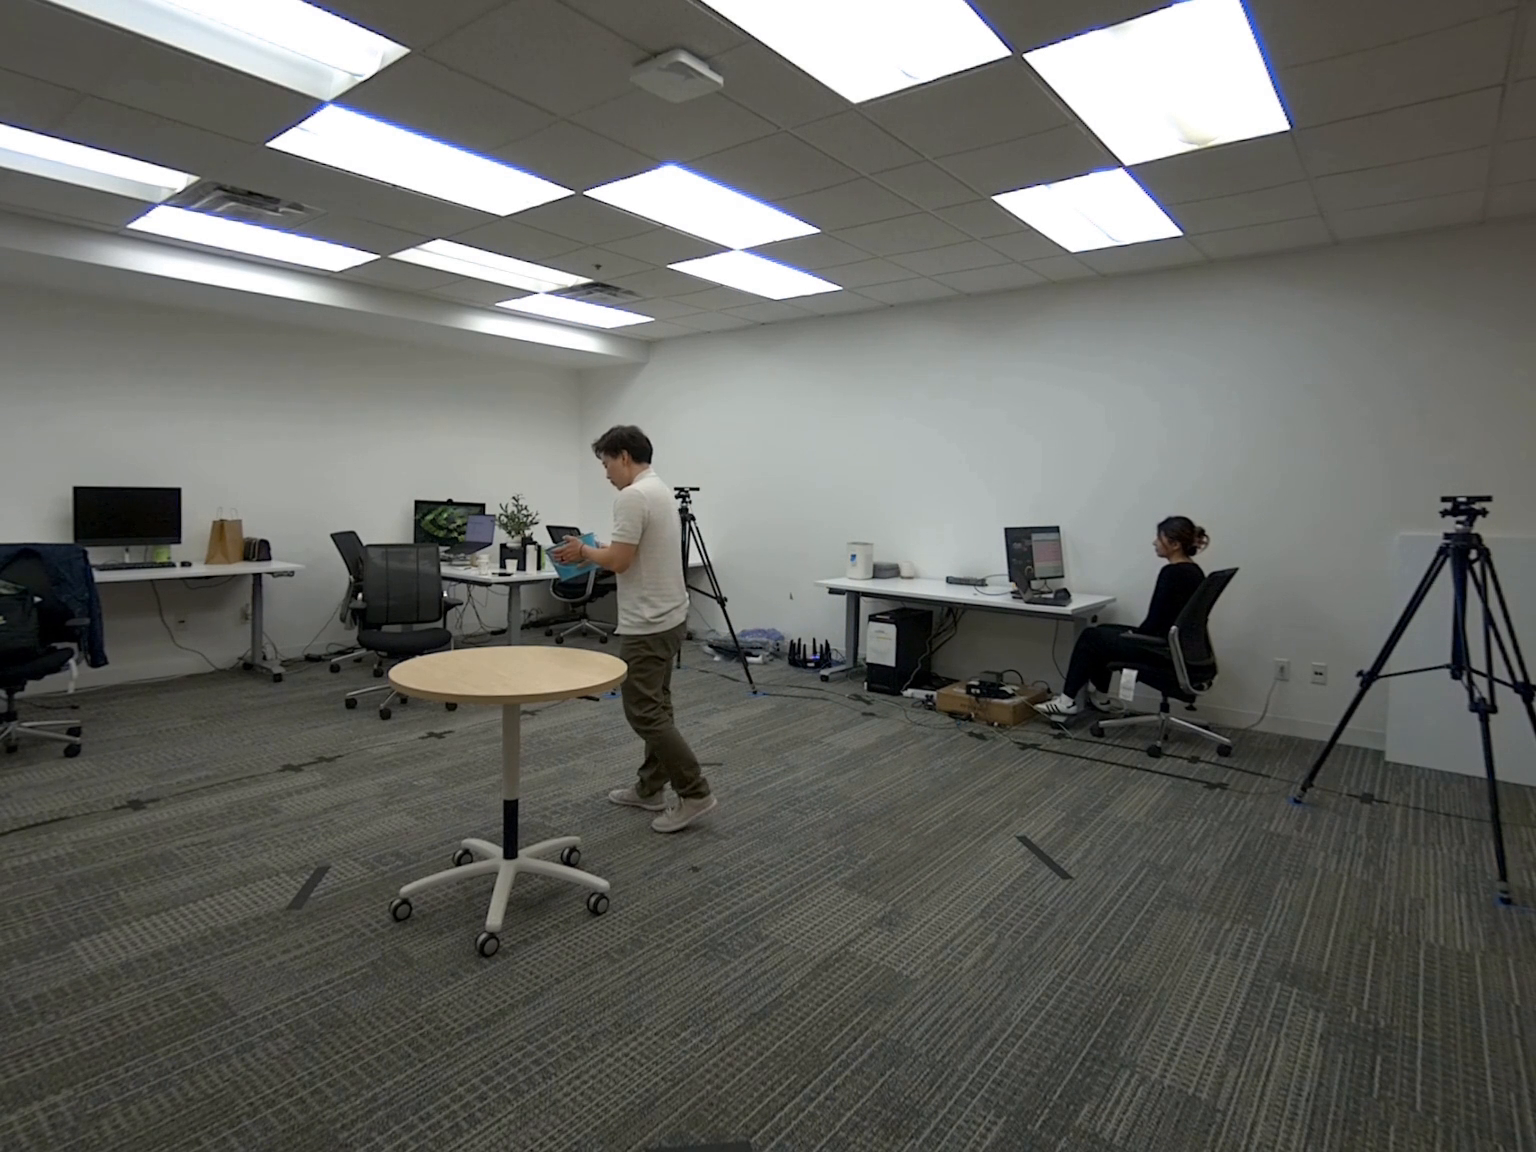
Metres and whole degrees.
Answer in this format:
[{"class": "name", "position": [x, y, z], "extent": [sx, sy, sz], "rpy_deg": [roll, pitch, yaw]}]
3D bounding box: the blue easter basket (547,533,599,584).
[{"class": "blue easter basket", "position": [-0.857, -0.078, 3.689], "extent": [0.243, 0.155, 0.245], "rpy_deg": [-19, 6, 0]}]
